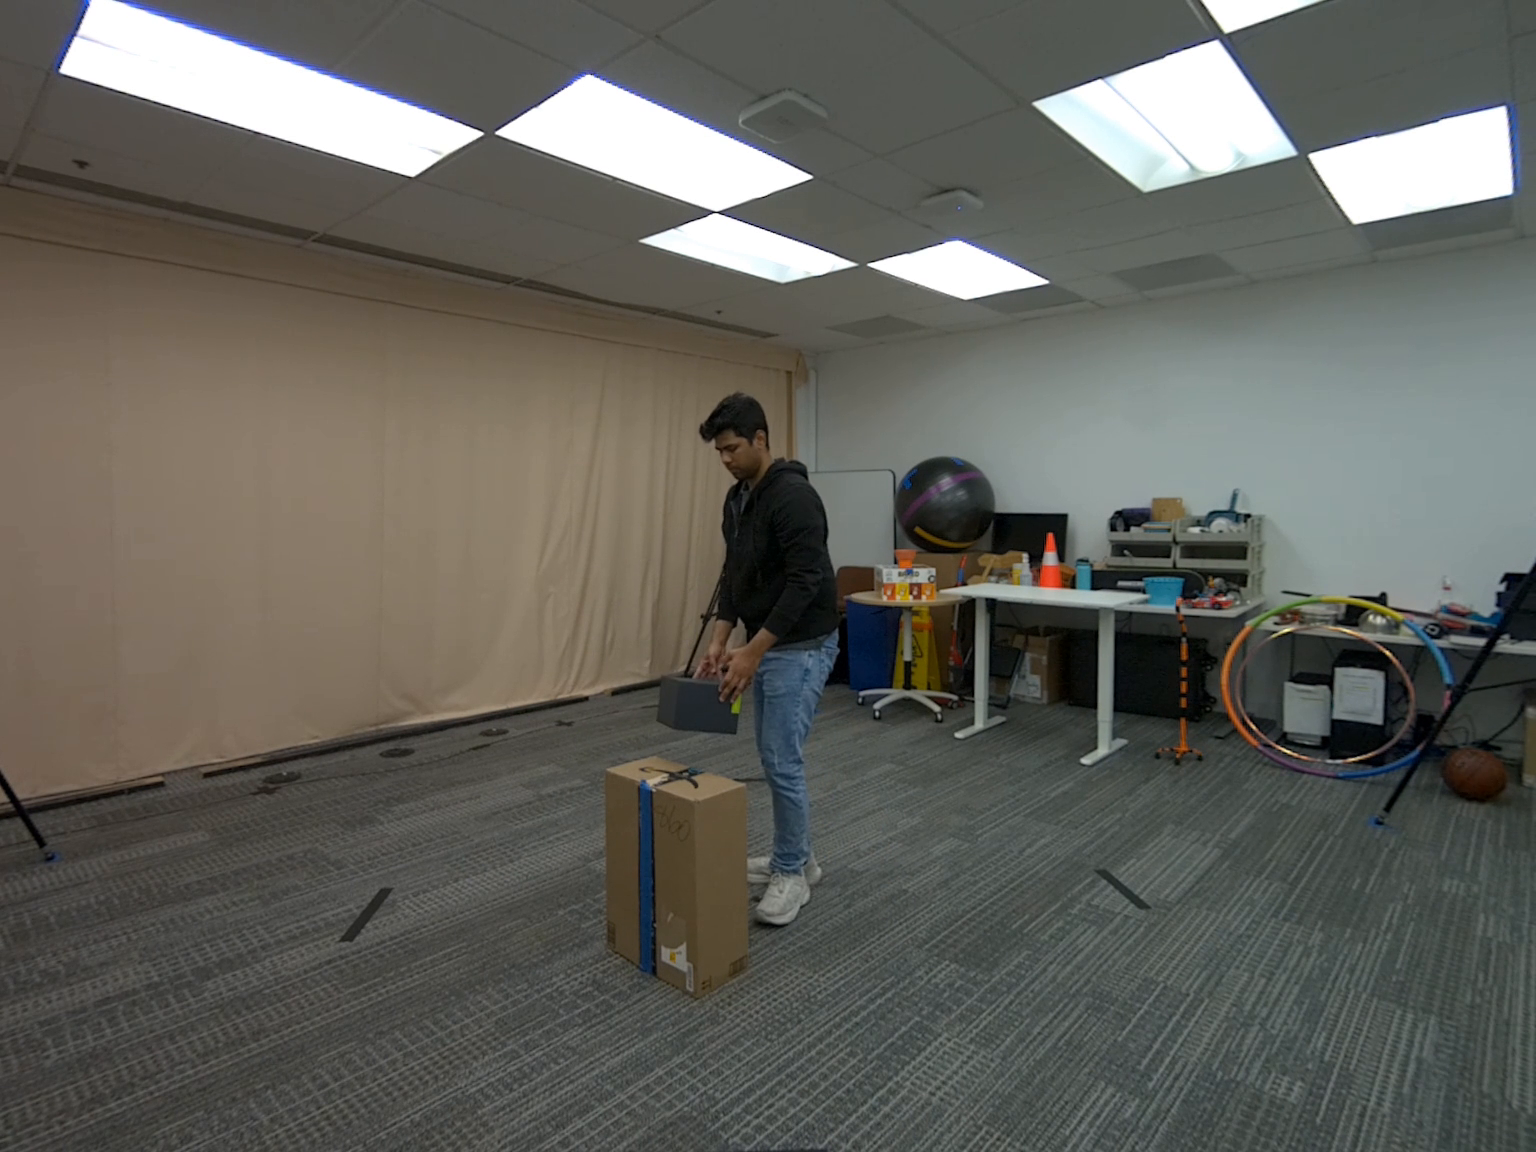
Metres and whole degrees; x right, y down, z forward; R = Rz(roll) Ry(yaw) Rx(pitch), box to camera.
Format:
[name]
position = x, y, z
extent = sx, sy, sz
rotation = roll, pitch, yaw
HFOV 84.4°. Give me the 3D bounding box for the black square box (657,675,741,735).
[black square box]
position = -0.227, 0.438, 2.803
extent = 0.212, 0.156, 0.232
rotation = 8, -6, -19
